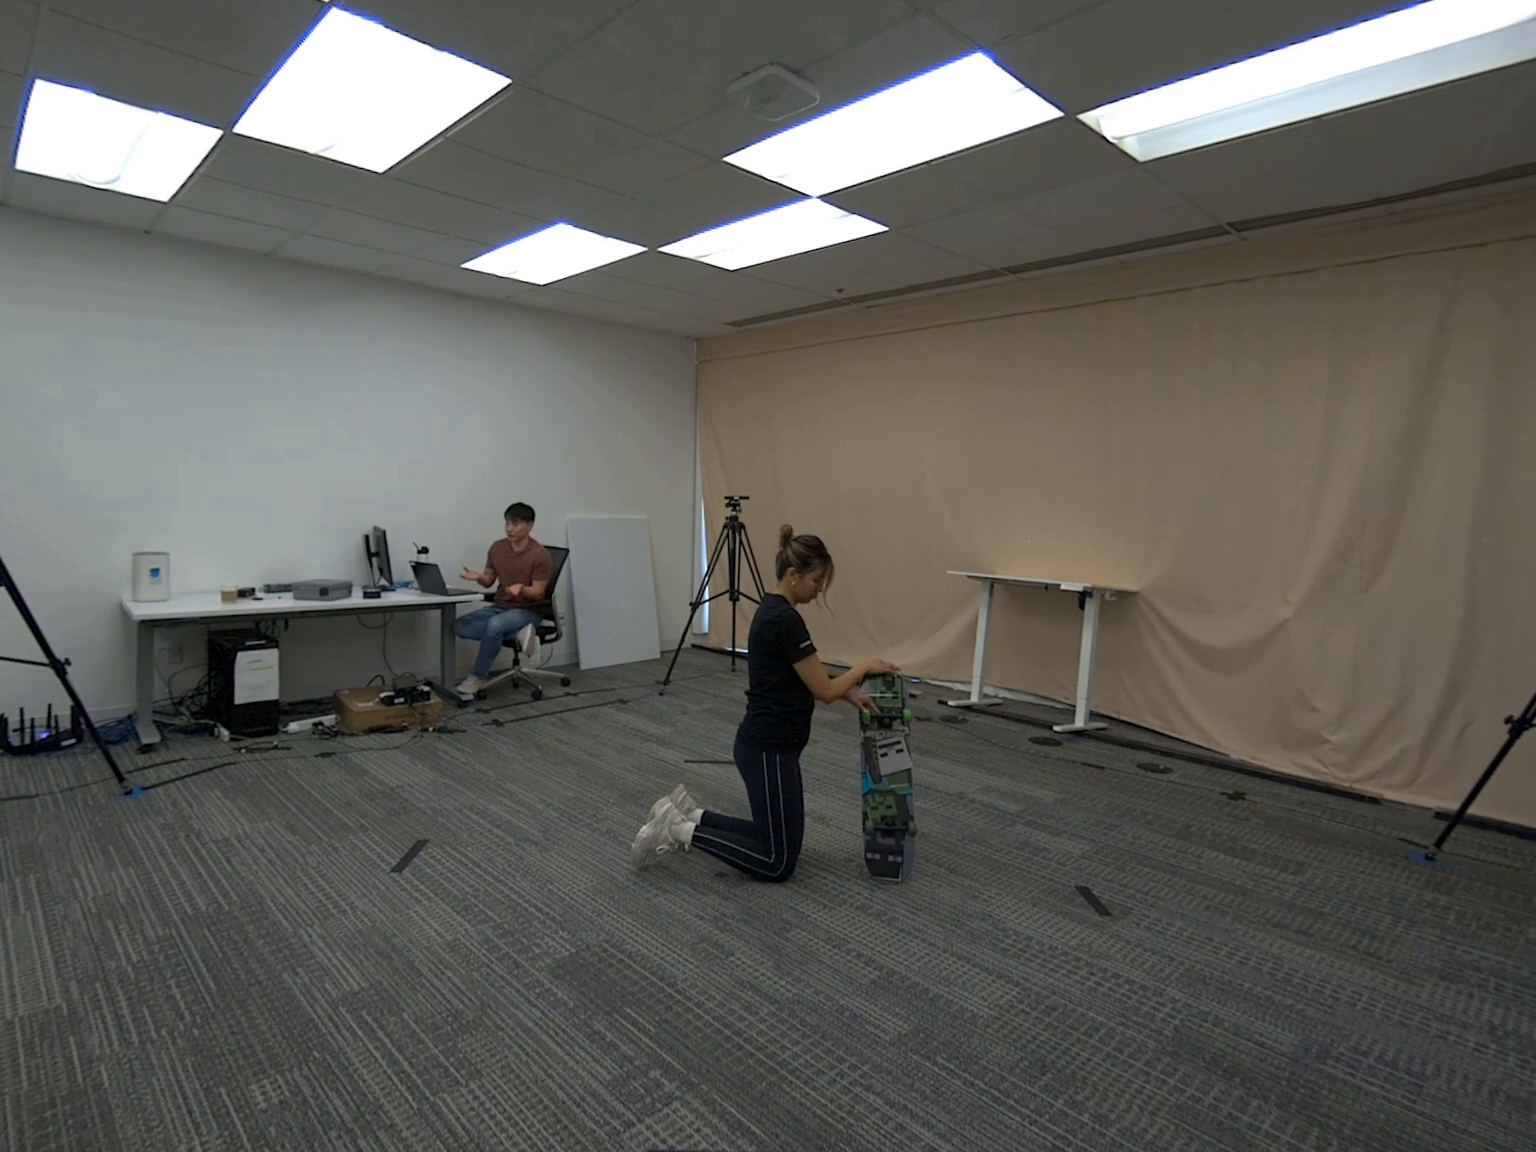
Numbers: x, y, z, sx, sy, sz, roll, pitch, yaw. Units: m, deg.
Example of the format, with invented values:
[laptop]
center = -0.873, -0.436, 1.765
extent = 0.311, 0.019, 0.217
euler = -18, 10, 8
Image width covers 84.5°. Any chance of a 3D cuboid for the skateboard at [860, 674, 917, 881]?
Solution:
[skateboard]
center = 0.433, 0.724, 3.123
extent = 0.194, 0.795, 0.109
euler = -2, -16, 1
